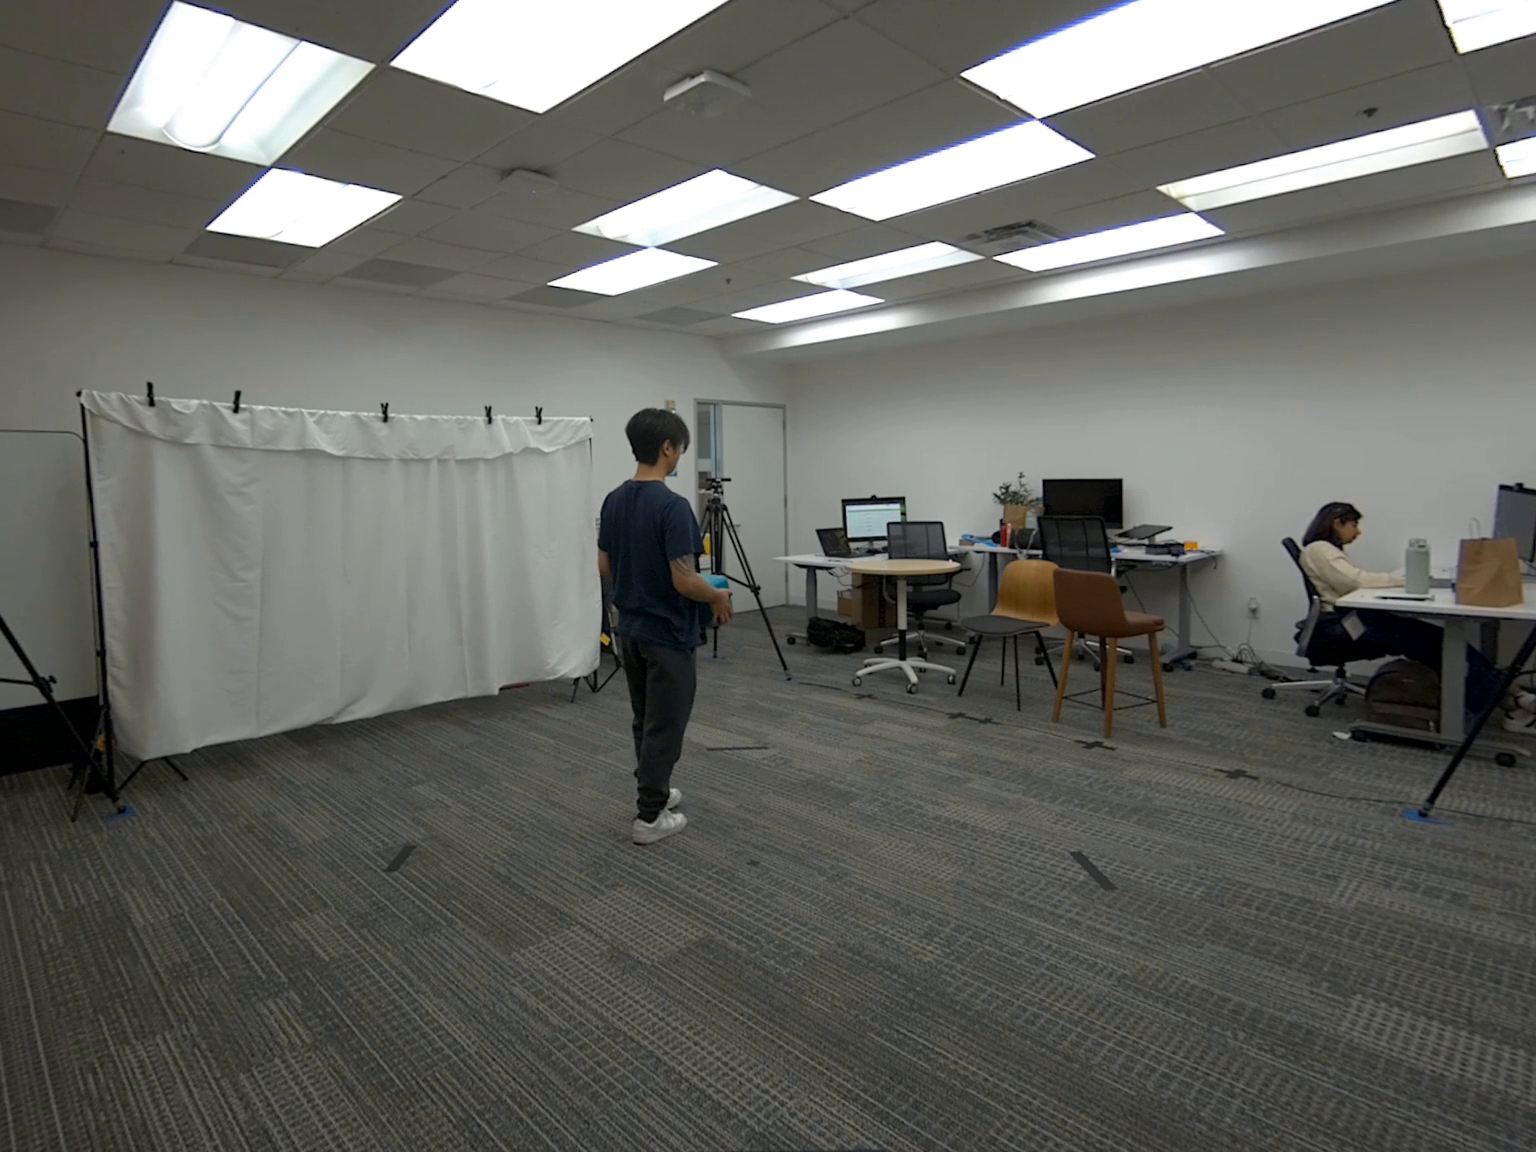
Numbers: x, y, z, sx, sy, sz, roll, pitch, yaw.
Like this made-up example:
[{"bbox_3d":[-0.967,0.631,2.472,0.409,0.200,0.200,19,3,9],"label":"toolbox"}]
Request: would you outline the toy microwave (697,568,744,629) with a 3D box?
[{"bbox_3d":[-0.273,0.083,3.471,0.295,0.181,0.150,4,21,42],"label":"toy microwave"}]
